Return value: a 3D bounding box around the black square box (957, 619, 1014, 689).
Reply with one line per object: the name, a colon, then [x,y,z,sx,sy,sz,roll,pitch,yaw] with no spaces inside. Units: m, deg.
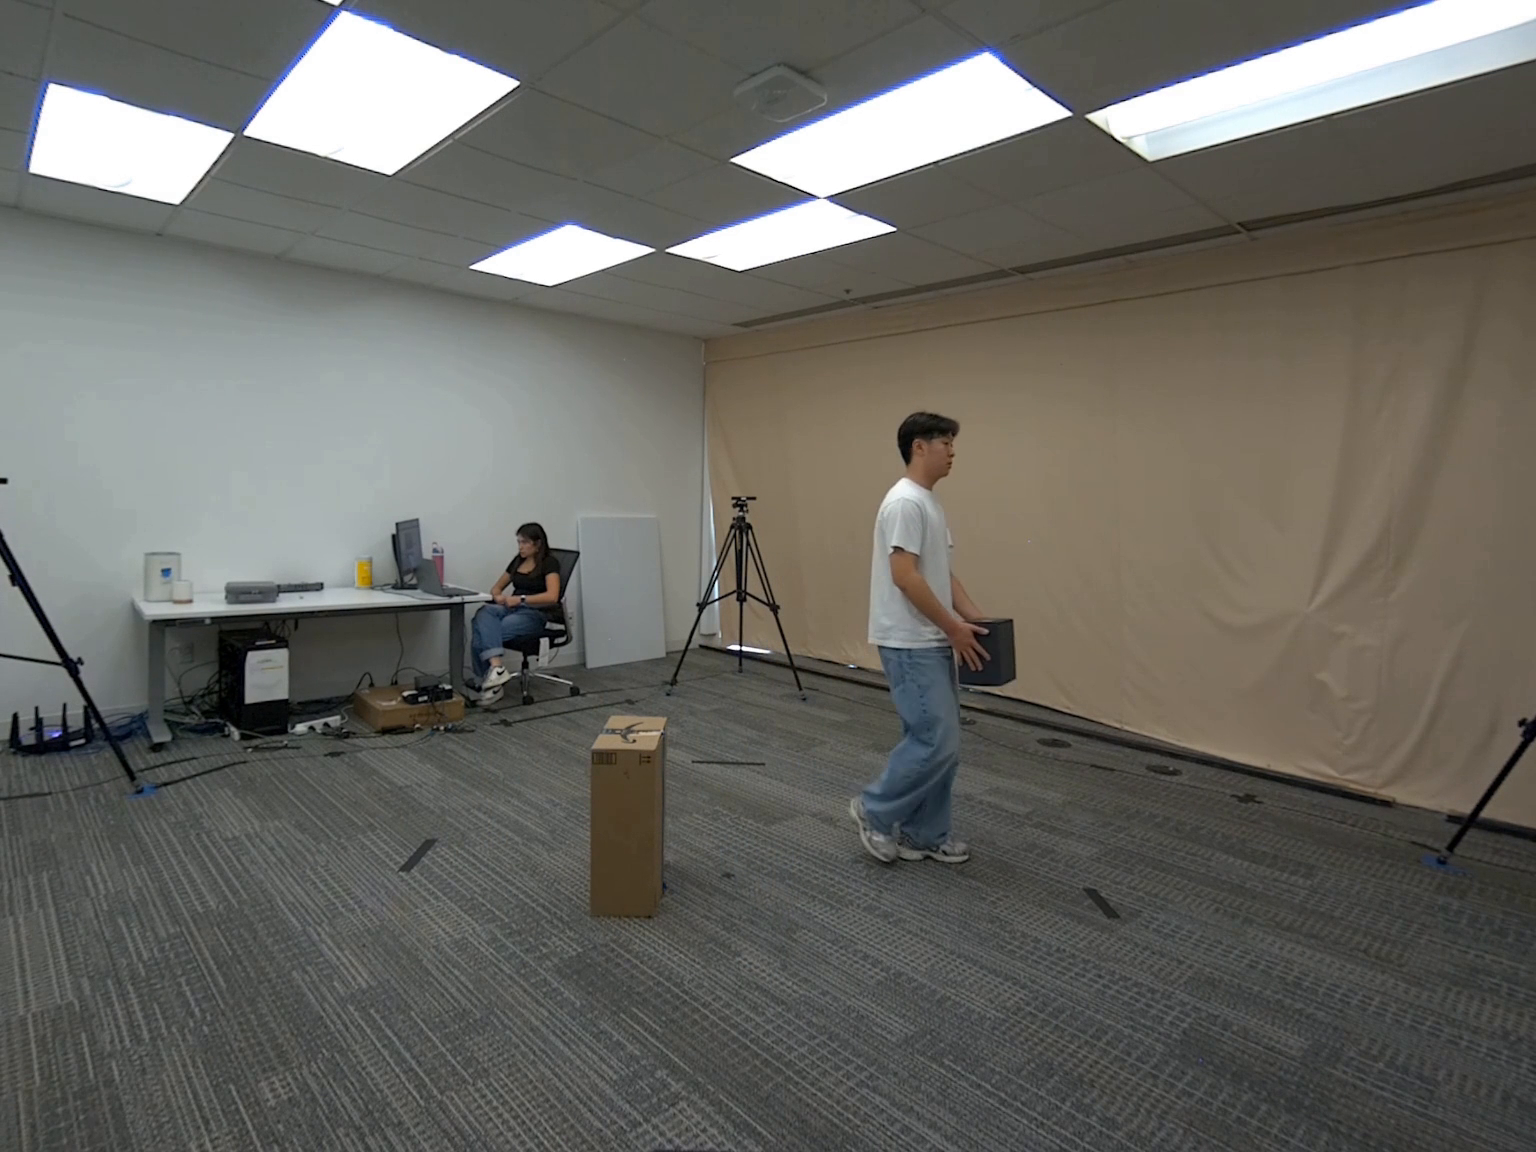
black square box: [0.801,0.282,3.125,0.159,0.228,0.212,-1,-1,27]
